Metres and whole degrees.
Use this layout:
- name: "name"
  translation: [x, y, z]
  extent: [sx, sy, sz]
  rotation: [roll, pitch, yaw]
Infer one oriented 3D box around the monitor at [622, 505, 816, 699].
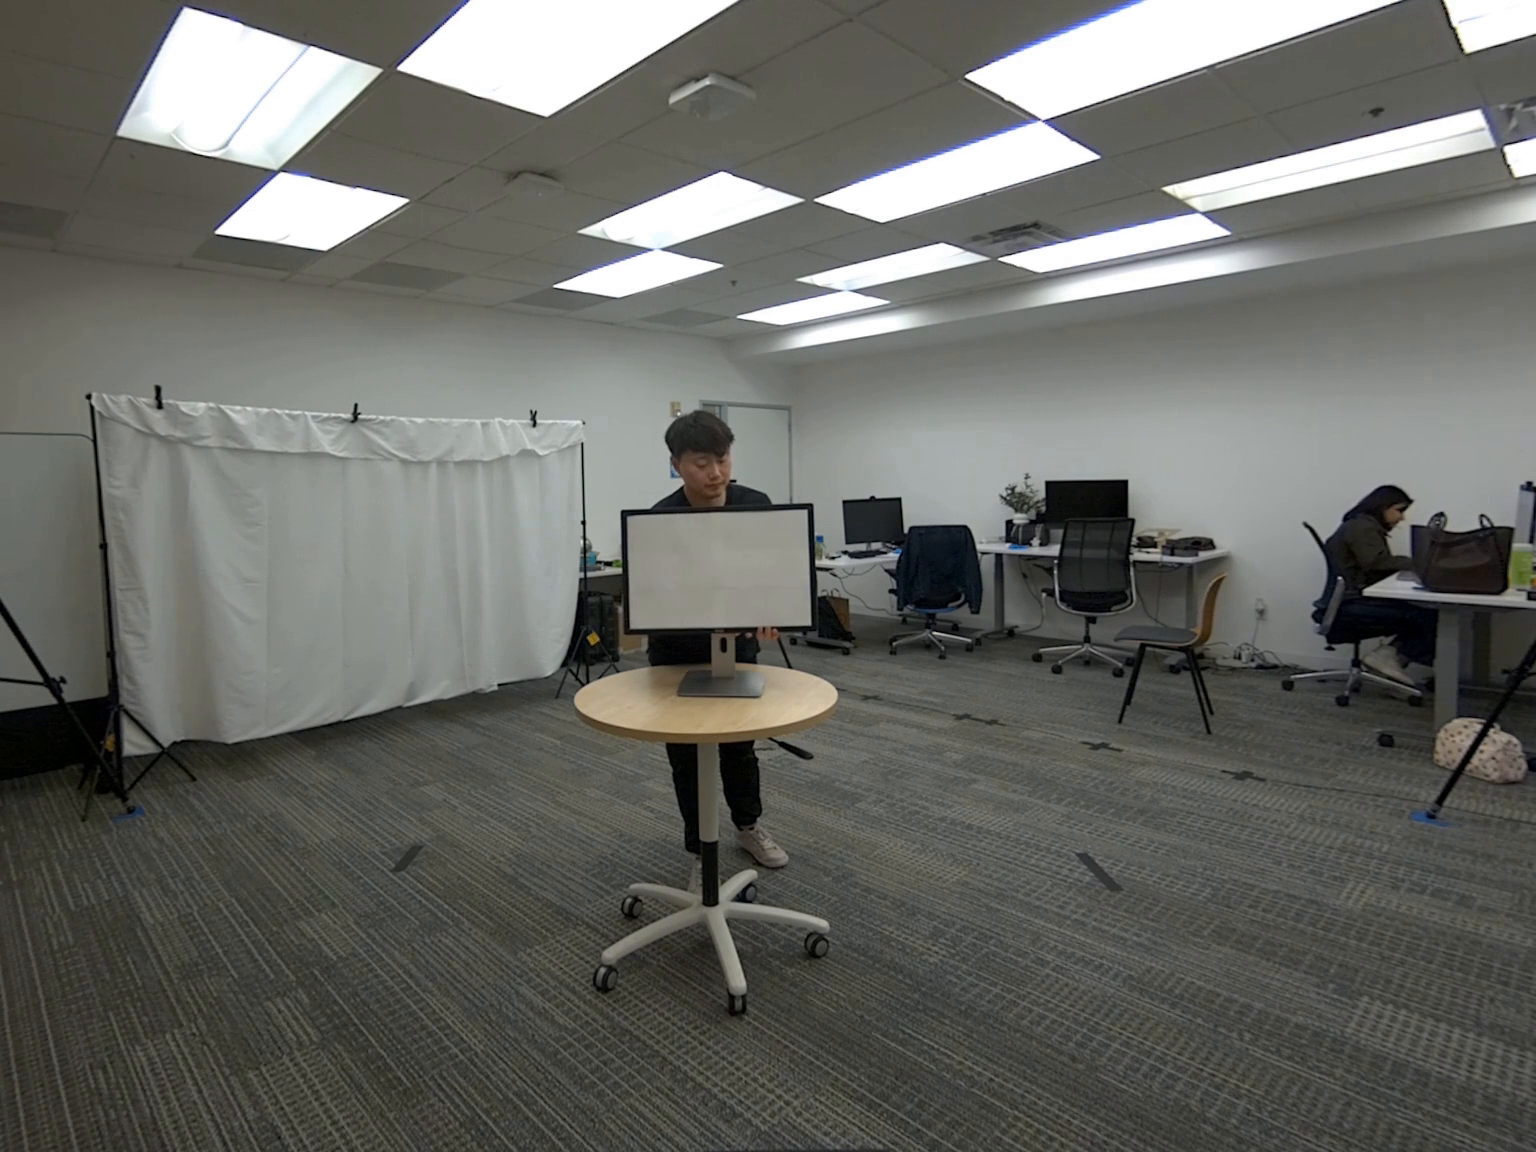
- name: "monitor"
  translation: [-0.142, 0.072, 2.507]
  extent: [0.542, 0.518, 0.188]
  rotation: [-2, 10, 5]
